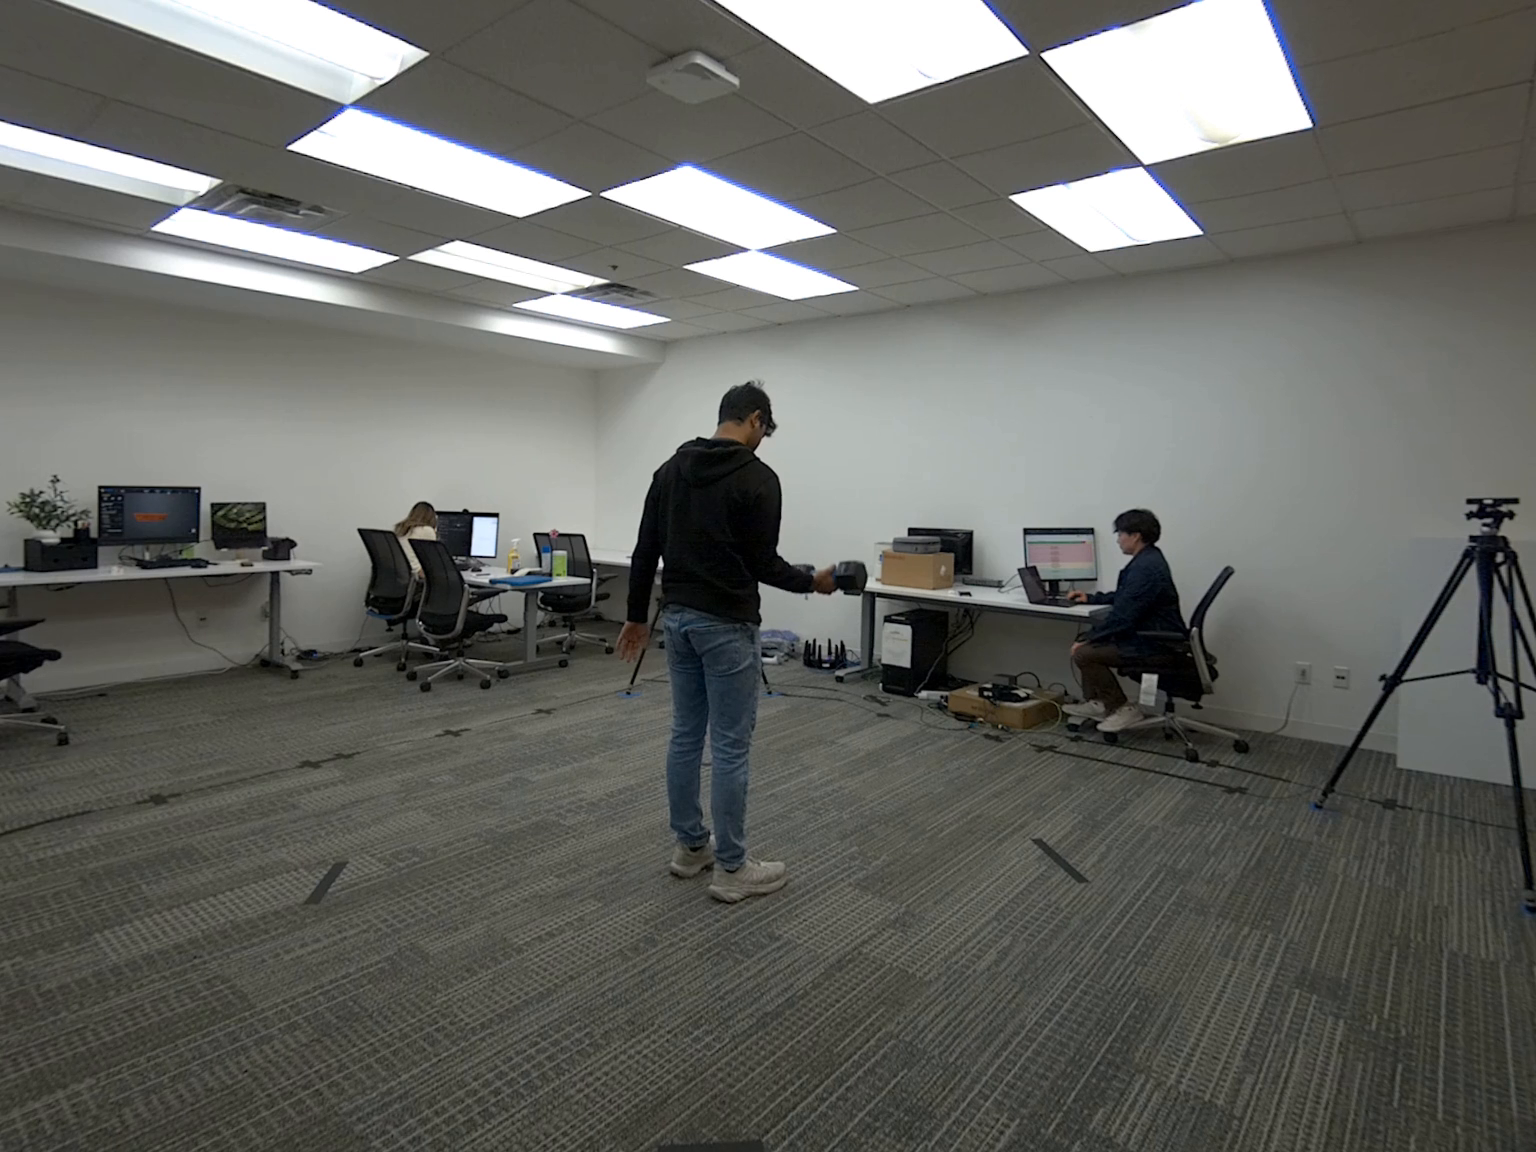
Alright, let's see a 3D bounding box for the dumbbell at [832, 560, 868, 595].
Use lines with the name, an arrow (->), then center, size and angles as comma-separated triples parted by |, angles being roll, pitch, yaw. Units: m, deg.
dumbbell -> 0.193, 0.003, 3.109 | 0.302, 0.109, 0.119 | -4, -8, 37
